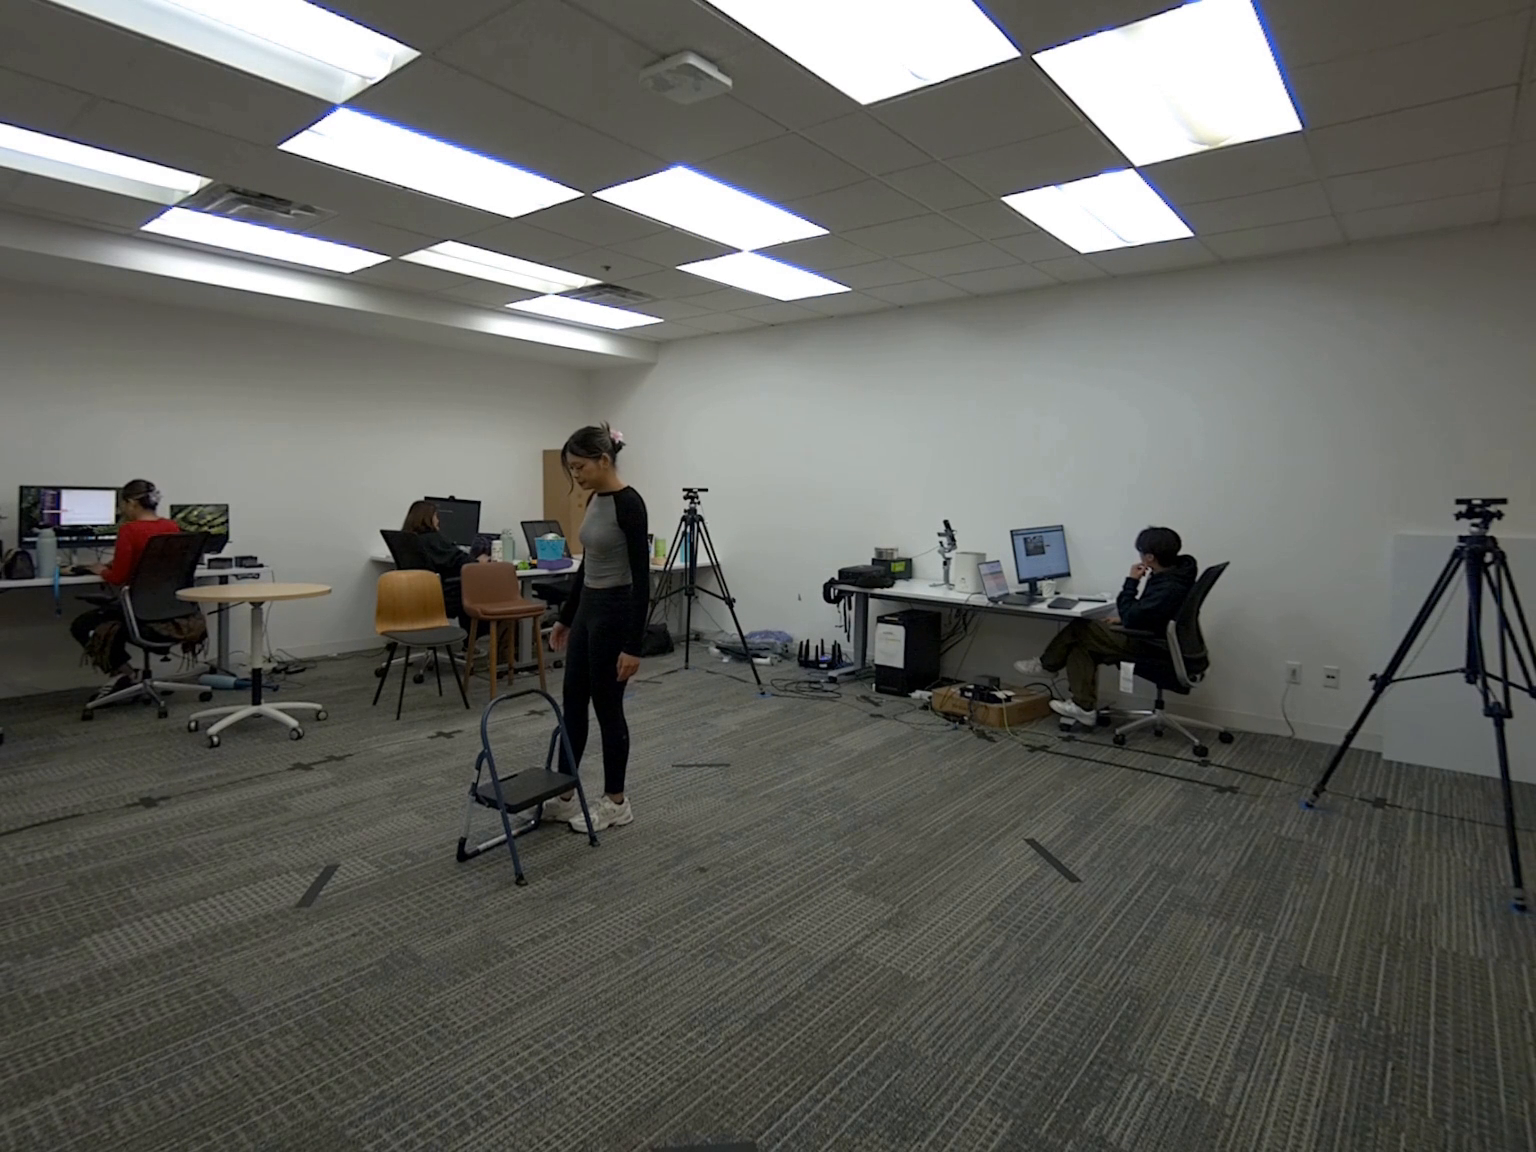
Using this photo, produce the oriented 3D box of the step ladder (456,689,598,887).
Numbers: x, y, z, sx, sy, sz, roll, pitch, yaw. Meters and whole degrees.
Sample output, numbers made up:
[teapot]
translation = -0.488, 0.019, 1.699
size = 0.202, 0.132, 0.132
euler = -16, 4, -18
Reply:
[step ladder]
translation = -0.912, 0.748, 3.199
size = 0.359, 0.604, 0.419
euler = 3, 4, 29
